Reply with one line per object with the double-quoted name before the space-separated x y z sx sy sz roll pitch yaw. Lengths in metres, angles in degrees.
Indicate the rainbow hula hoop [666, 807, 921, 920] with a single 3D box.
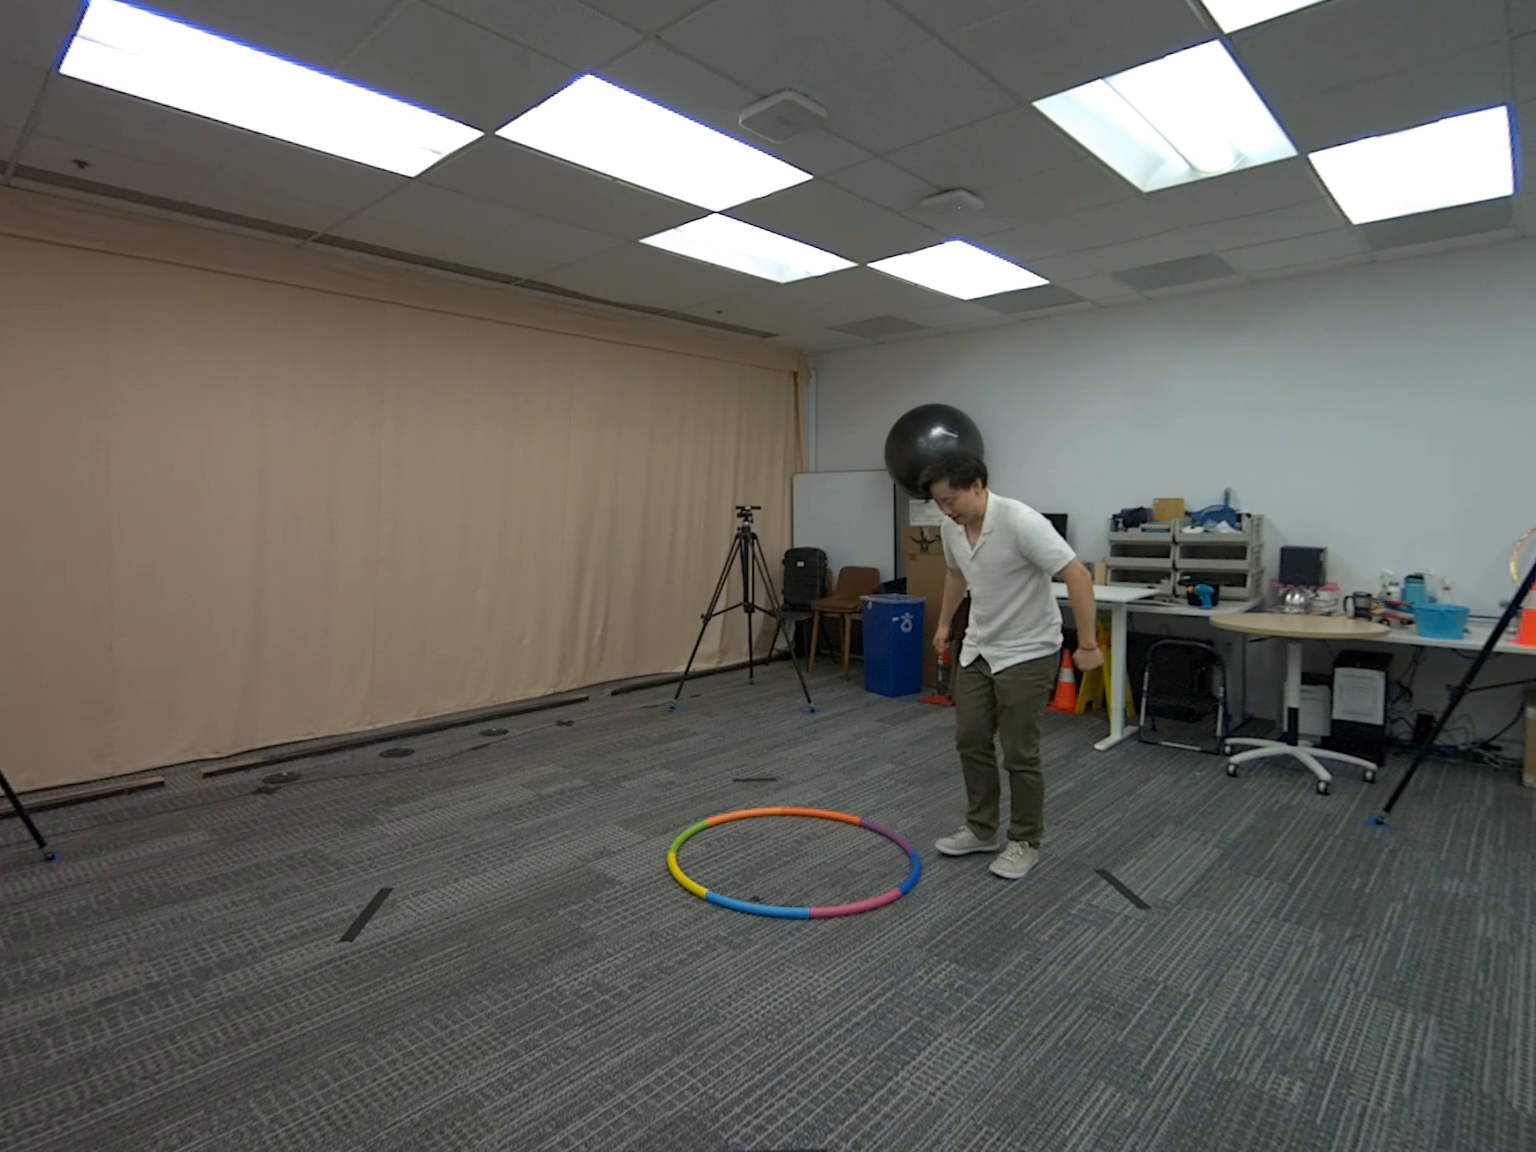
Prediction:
"rainbow hula hoop" 0.099 1.086 3.315 0.978 0.035 0.982 0 5 -2
